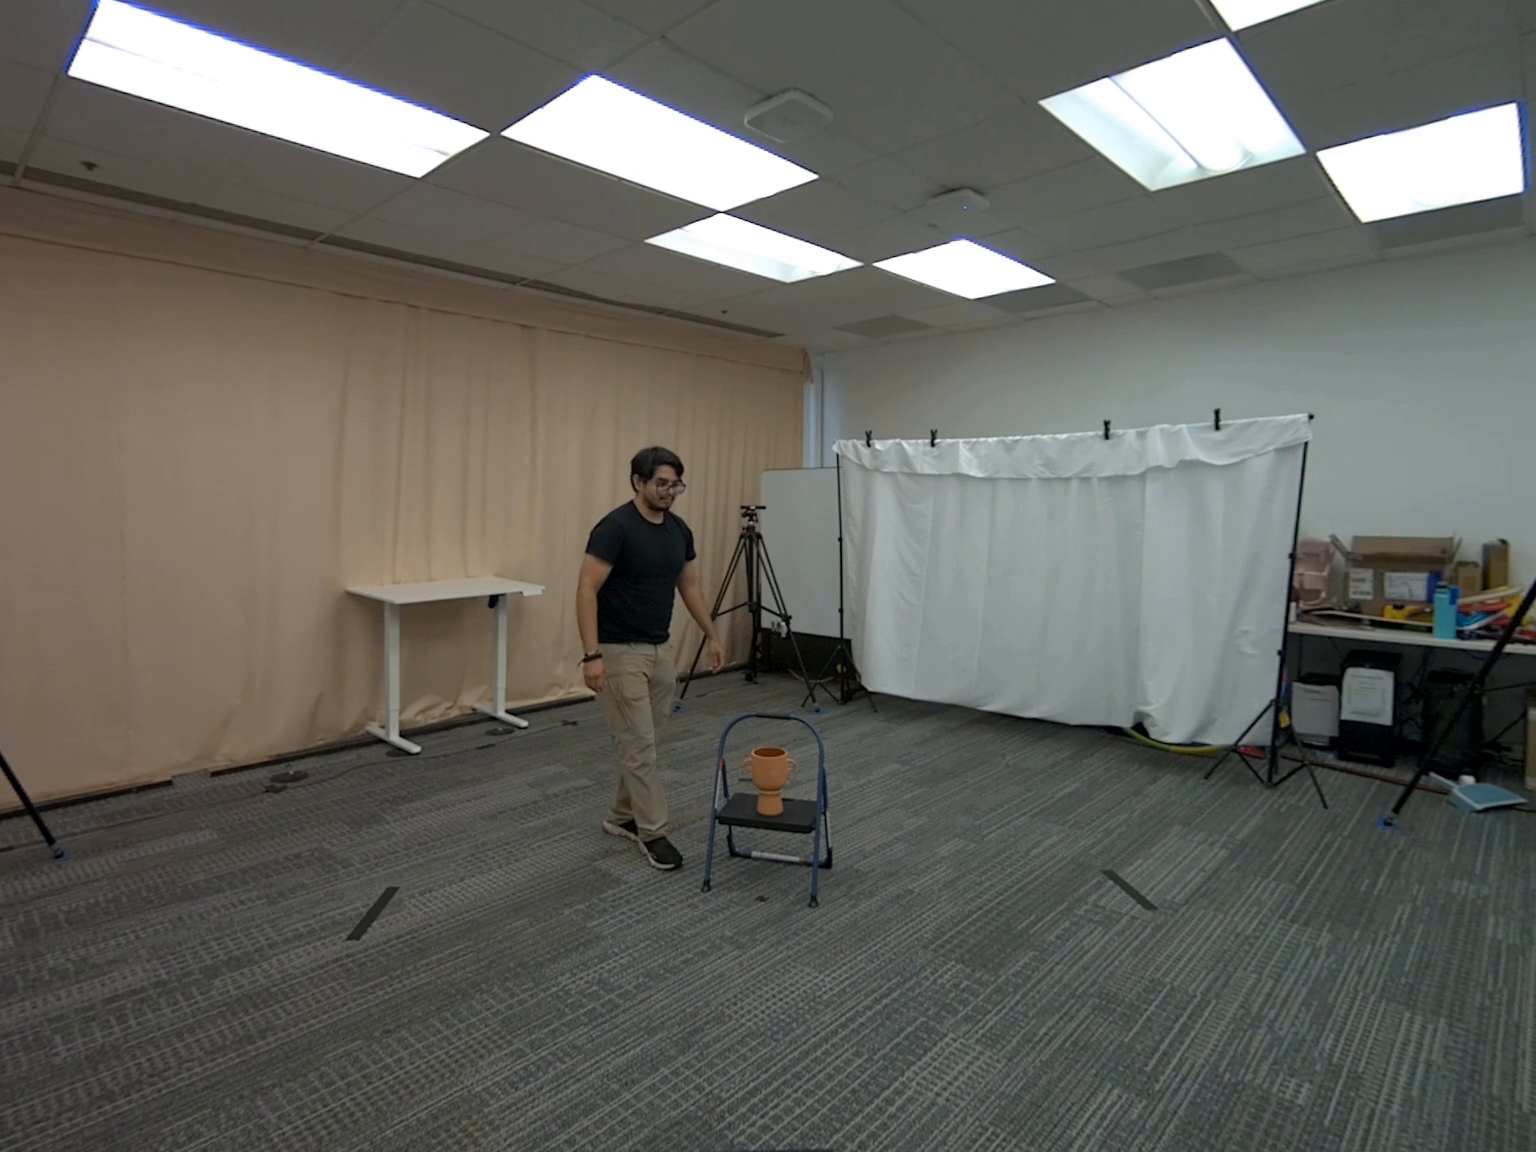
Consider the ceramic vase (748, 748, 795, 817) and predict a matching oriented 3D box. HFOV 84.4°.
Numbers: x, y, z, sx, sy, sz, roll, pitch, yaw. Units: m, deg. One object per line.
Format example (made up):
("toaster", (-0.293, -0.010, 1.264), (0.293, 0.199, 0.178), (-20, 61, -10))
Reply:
("ceramic vase", (0.009, 0.762, 3.111), (0.164, 0.219, 0.130), (4, 6, 41))
